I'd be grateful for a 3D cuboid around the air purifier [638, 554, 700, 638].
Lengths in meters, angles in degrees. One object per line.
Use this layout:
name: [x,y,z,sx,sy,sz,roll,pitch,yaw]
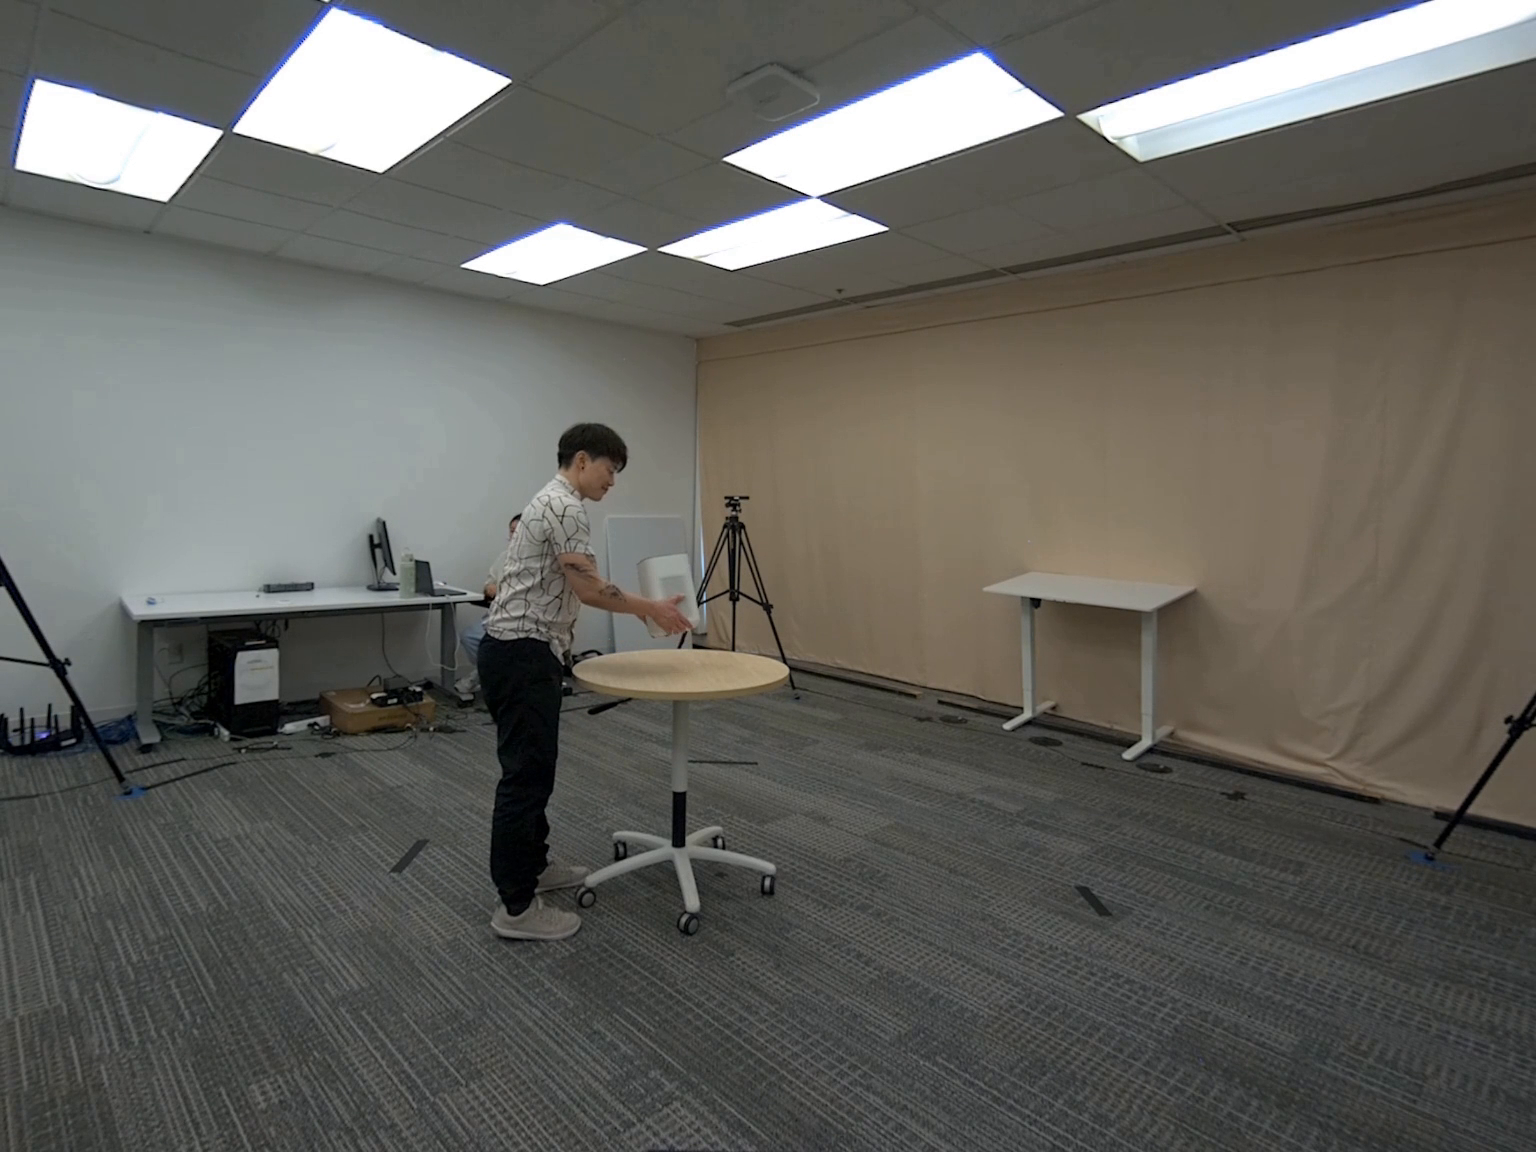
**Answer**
air purifier: [-0.367,0.067,2.970,0.169,0.267,0.172,-7,-8,-23]
